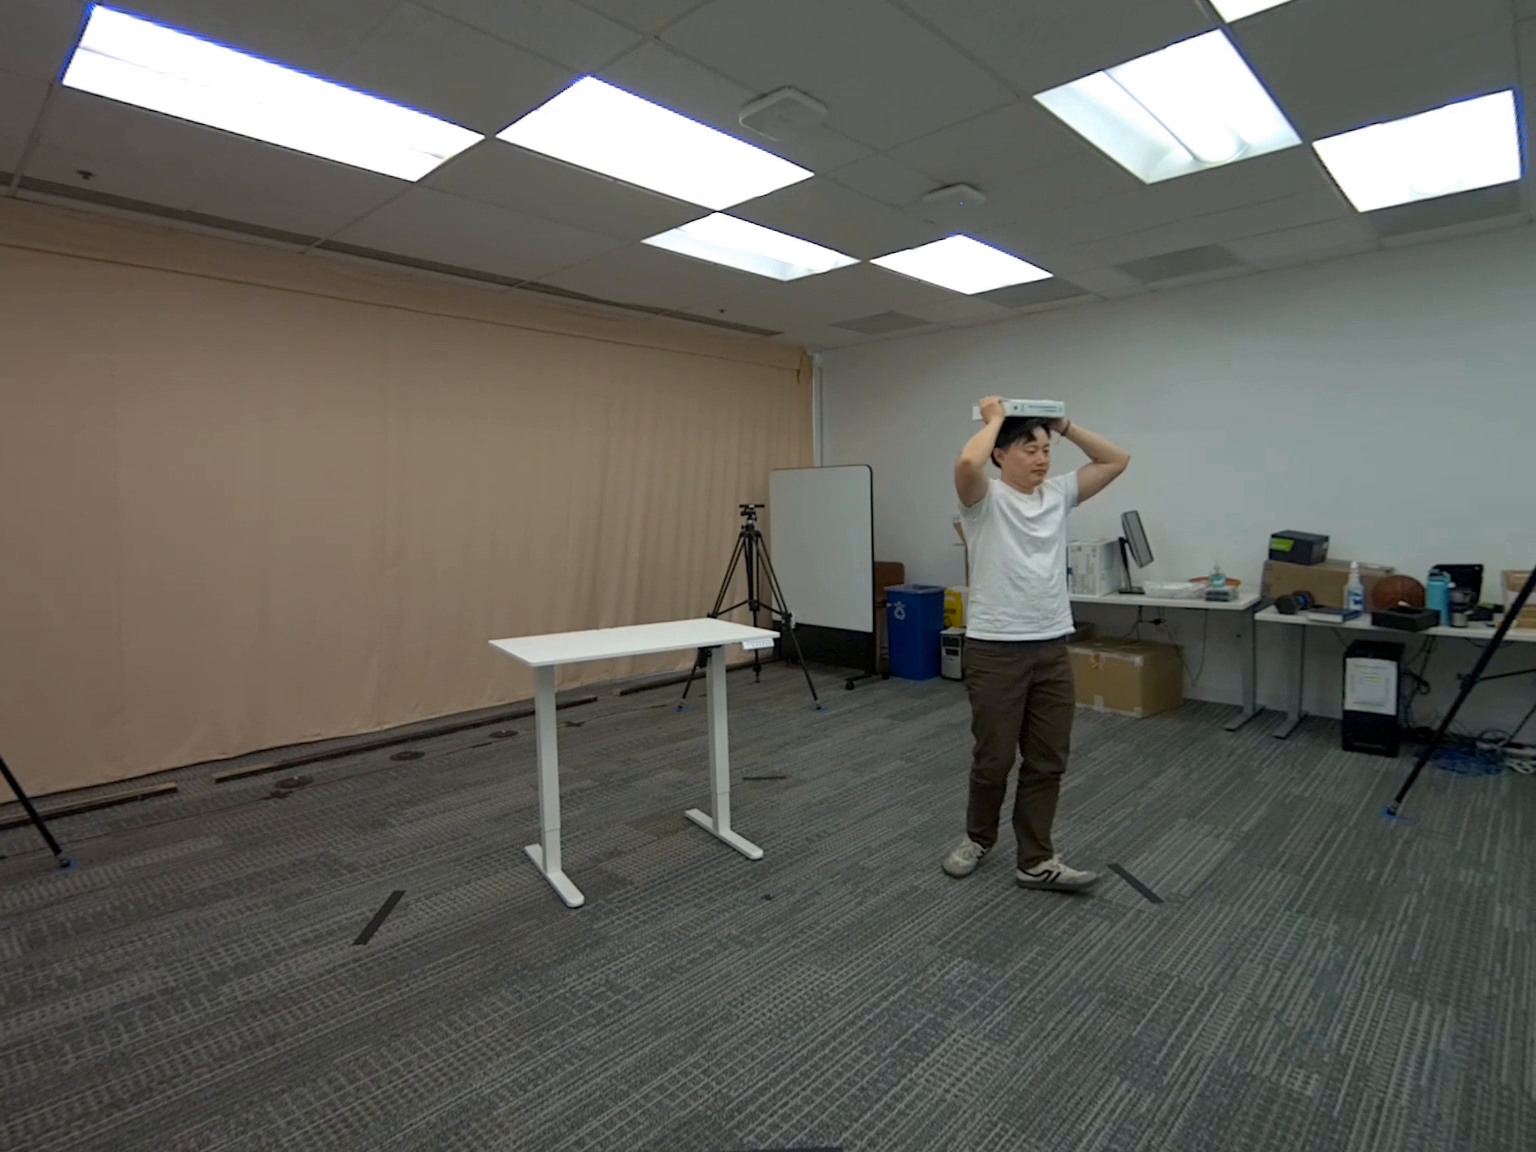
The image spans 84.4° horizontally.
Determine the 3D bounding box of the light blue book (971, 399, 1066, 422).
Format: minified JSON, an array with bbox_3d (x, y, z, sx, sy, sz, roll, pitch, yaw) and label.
[{"bbox_3d":[0.909,-0.587,2.992,0.255,0.059,0.197,-3,6,-27],"label":"light blue book"}]
